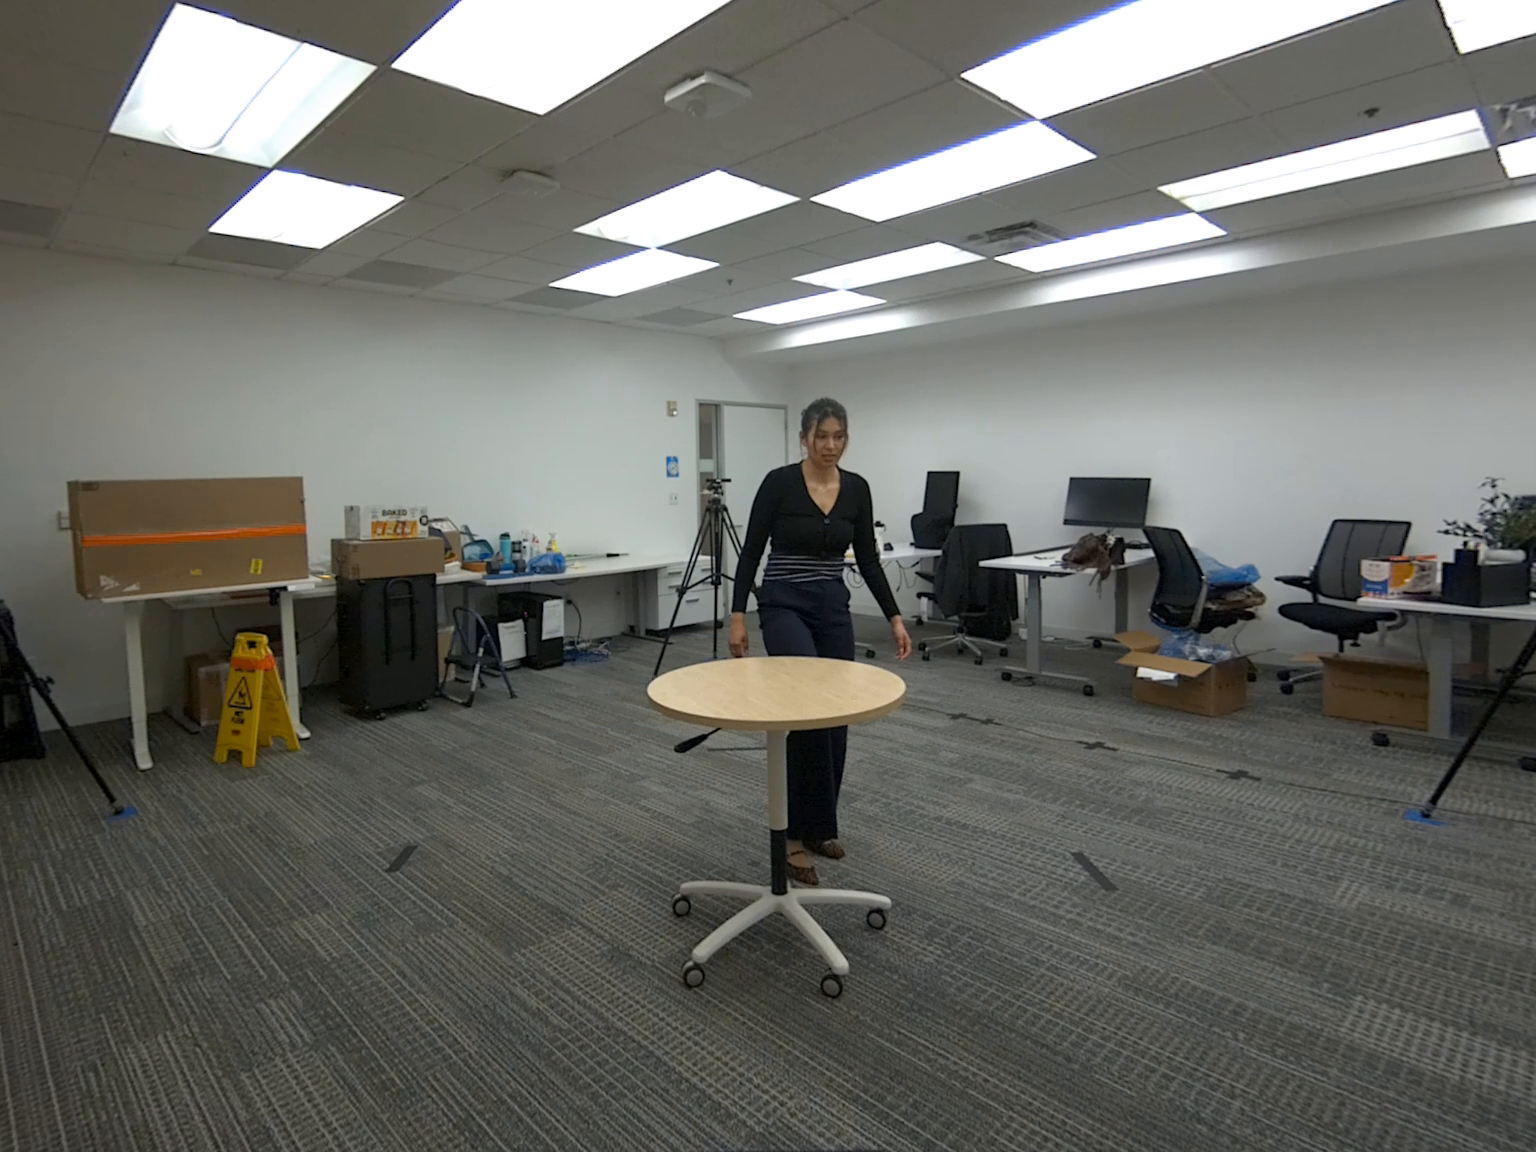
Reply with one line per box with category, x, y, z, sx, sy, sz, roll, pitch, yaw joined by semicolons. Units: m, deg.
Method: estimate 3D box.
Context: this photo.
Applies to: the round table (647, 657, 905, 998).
round table;0.027;0.719;2.578;0.763;0.791;0.768;-1;5;-2
